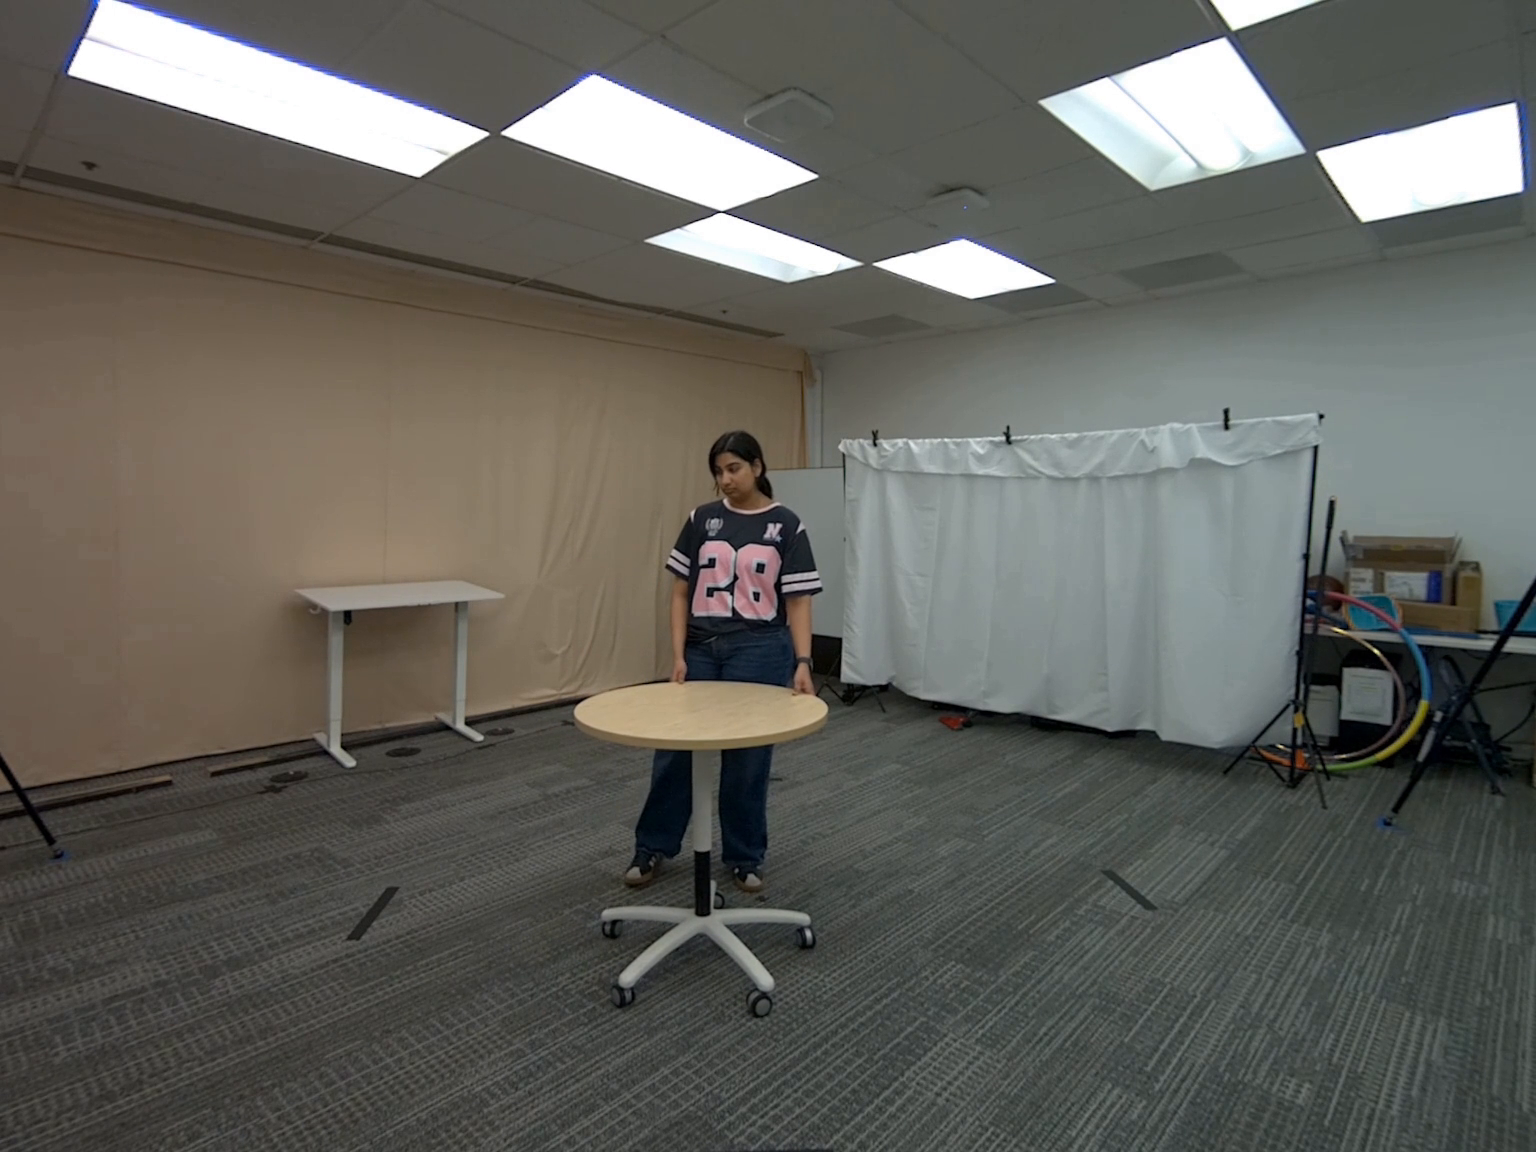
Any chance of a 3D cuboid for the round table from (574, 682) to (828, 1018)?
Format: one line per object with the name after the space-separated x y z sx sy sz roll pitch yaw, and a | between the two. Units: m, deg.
-0.201 0.789 2.573 0.763 0.792 0.766 -1 3 -2 | round table
